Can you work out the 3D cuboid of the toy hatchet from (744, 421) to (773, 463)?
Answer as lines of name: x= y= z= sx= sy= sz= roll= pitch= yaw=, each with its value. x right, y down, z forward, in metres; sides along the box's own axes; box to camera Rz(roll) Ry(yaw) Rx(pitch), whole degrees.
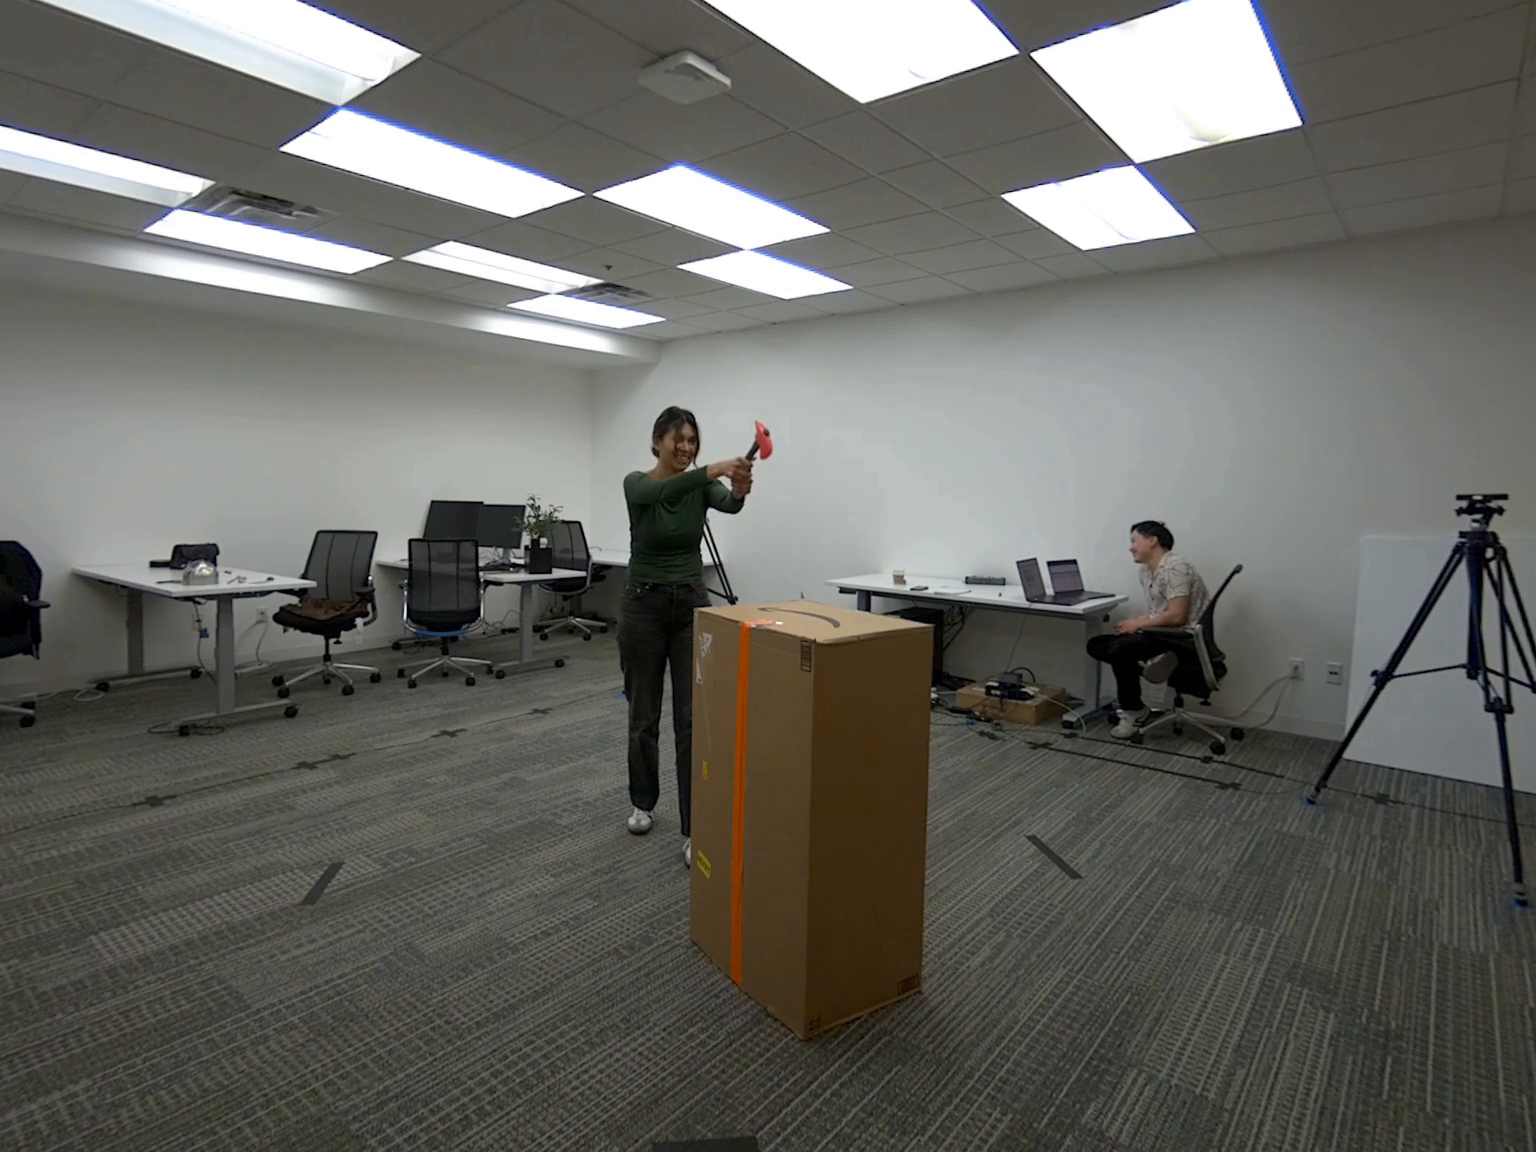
toy hatchet: x=-0.060 y=-0.367 z=2.767 sx=0.029 sy=0.266 sz=0.136 roll=-4 pitch=41 yaw=-36
